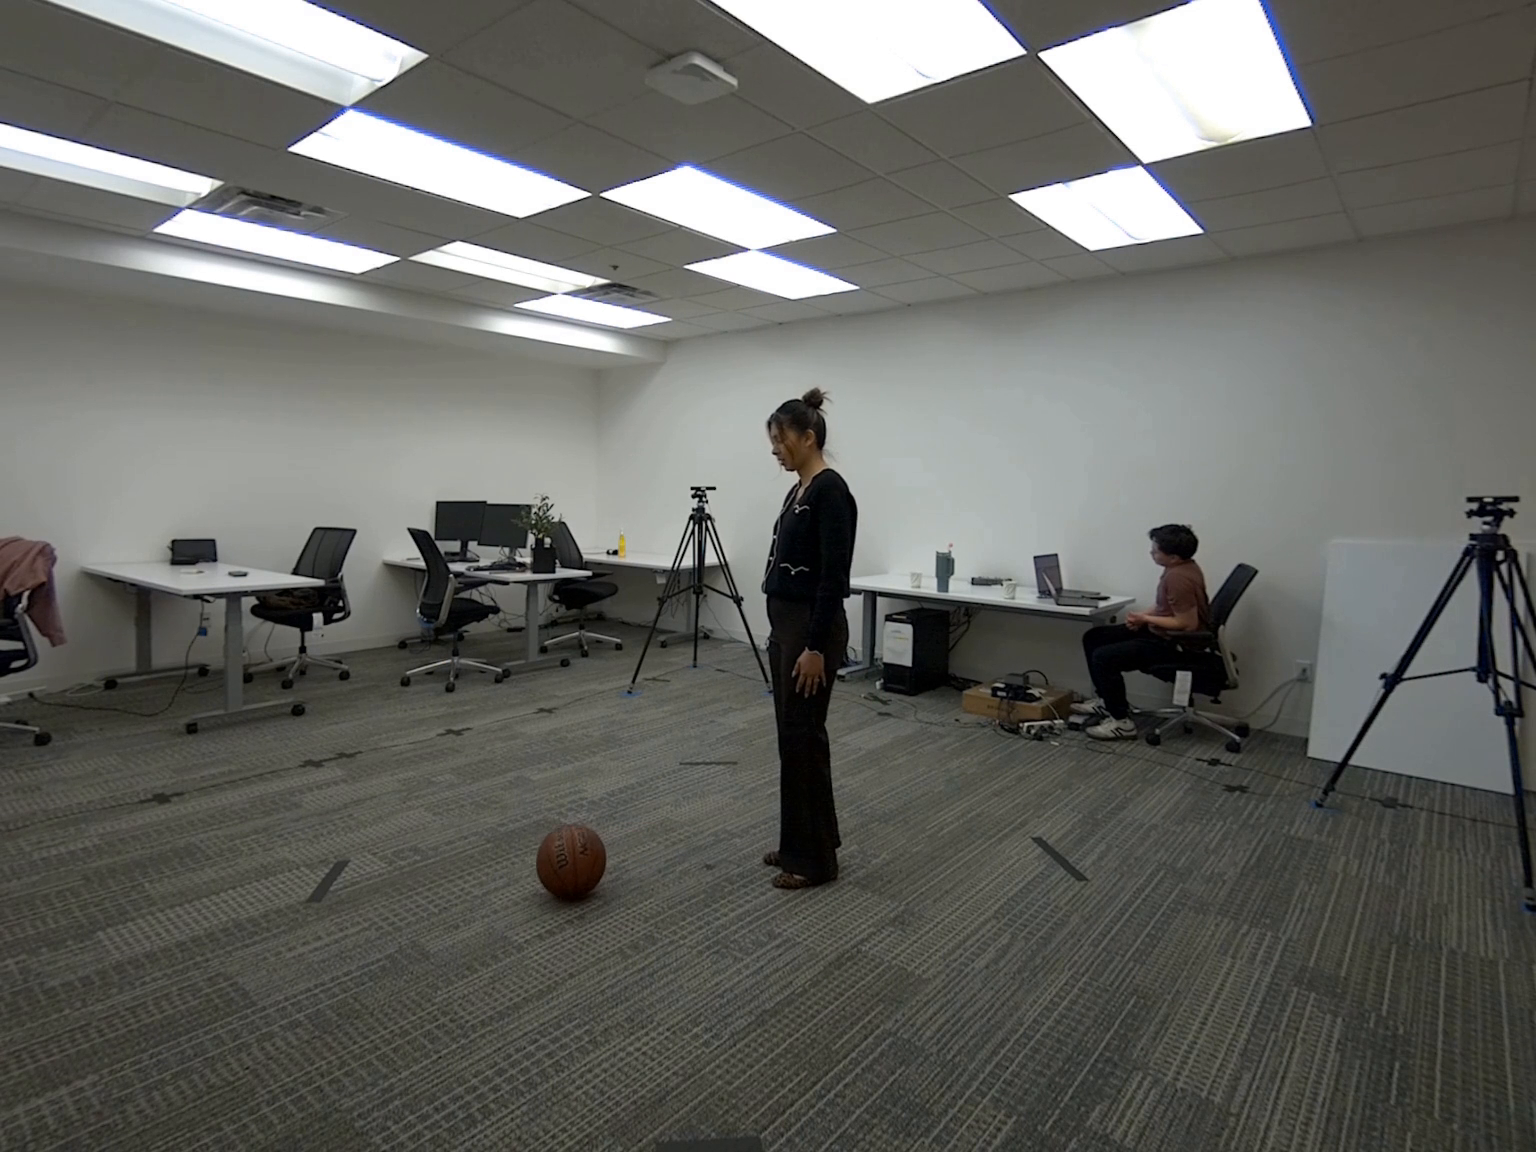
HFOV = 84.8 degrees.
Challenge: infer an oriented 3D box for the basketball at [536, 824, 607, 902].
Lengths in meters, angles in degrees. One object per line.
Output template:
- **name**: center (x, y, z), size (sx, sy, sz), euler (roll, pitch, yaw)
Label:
- **basketball**: center (-0.674, 0.965, 2.883), size (0.235, 0.235, 0.237), euler (1, 4, -2)
